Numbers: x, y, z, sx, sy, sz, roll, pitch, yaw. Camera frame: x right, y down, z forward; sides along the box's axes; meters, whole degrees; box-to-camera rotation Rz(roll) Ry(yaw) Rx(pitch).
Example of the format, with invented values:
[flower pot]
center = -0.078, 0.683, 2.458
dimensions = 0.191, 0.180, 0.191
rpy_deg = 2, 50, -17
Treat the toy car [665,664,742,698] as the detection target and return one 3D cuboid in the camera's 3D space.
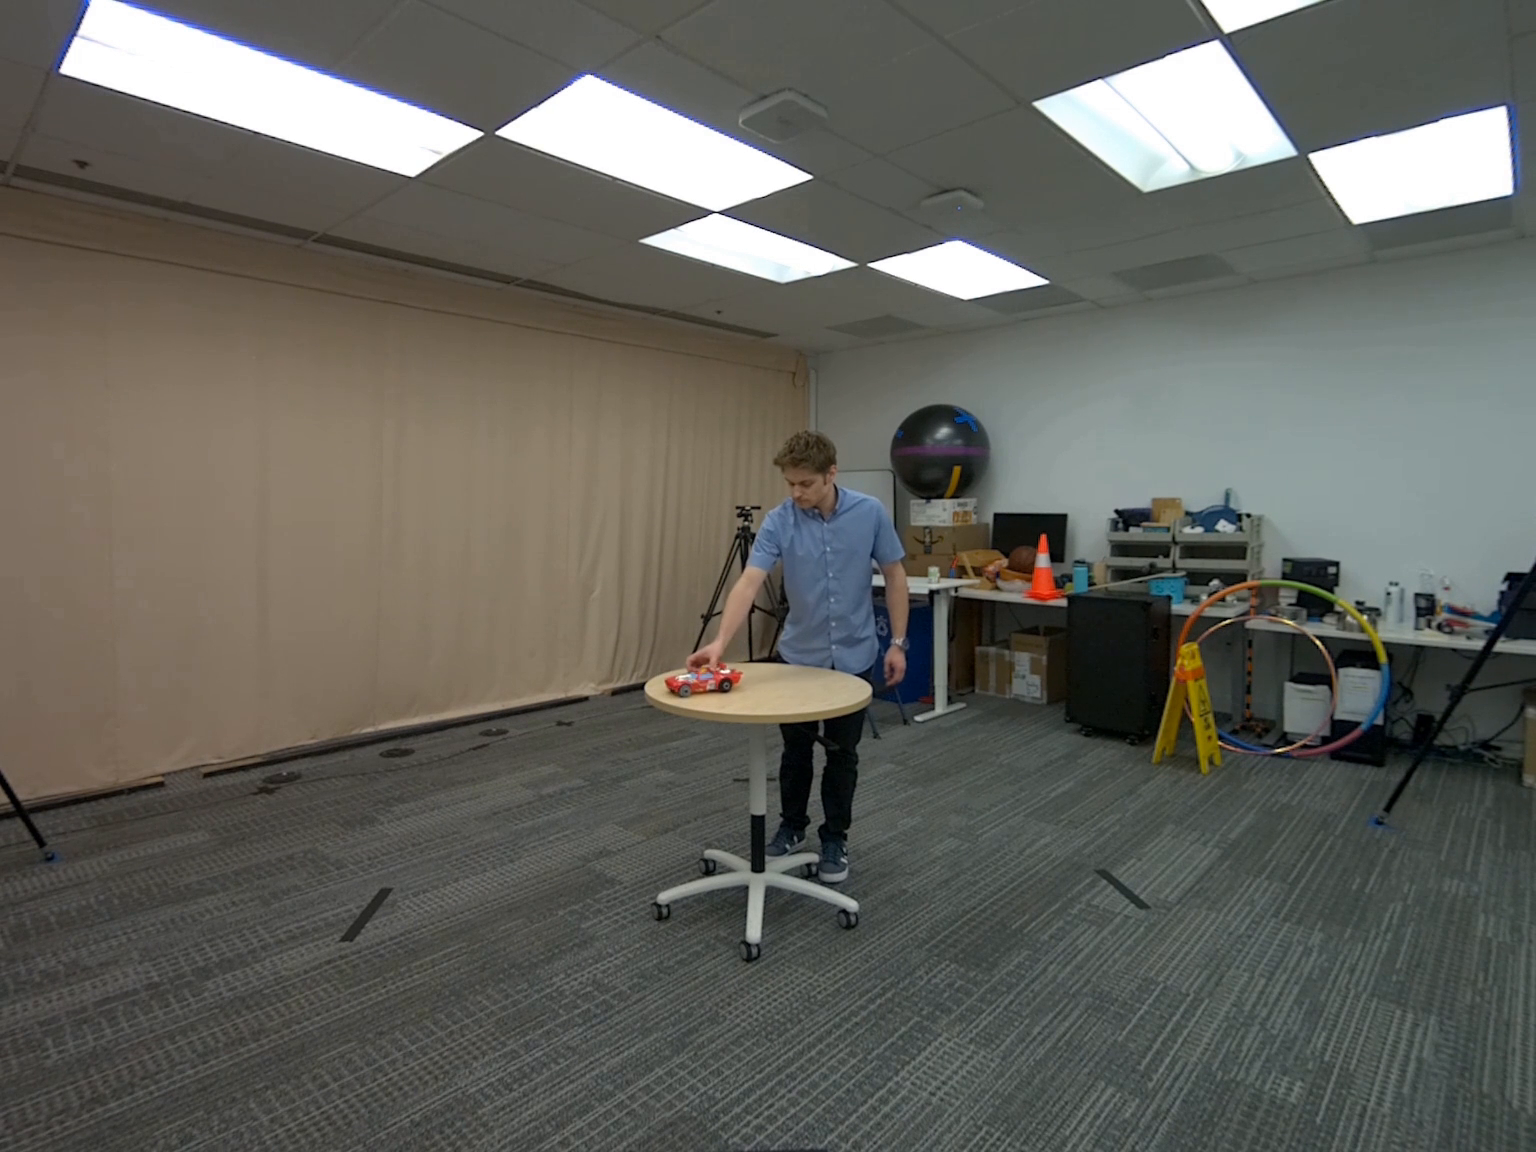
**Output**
[toy car]
center = -0.206, 0.352, 2.769
dimensions = 0.250, 0.082, 0.134
rpy_deg = -15, 11, -24
